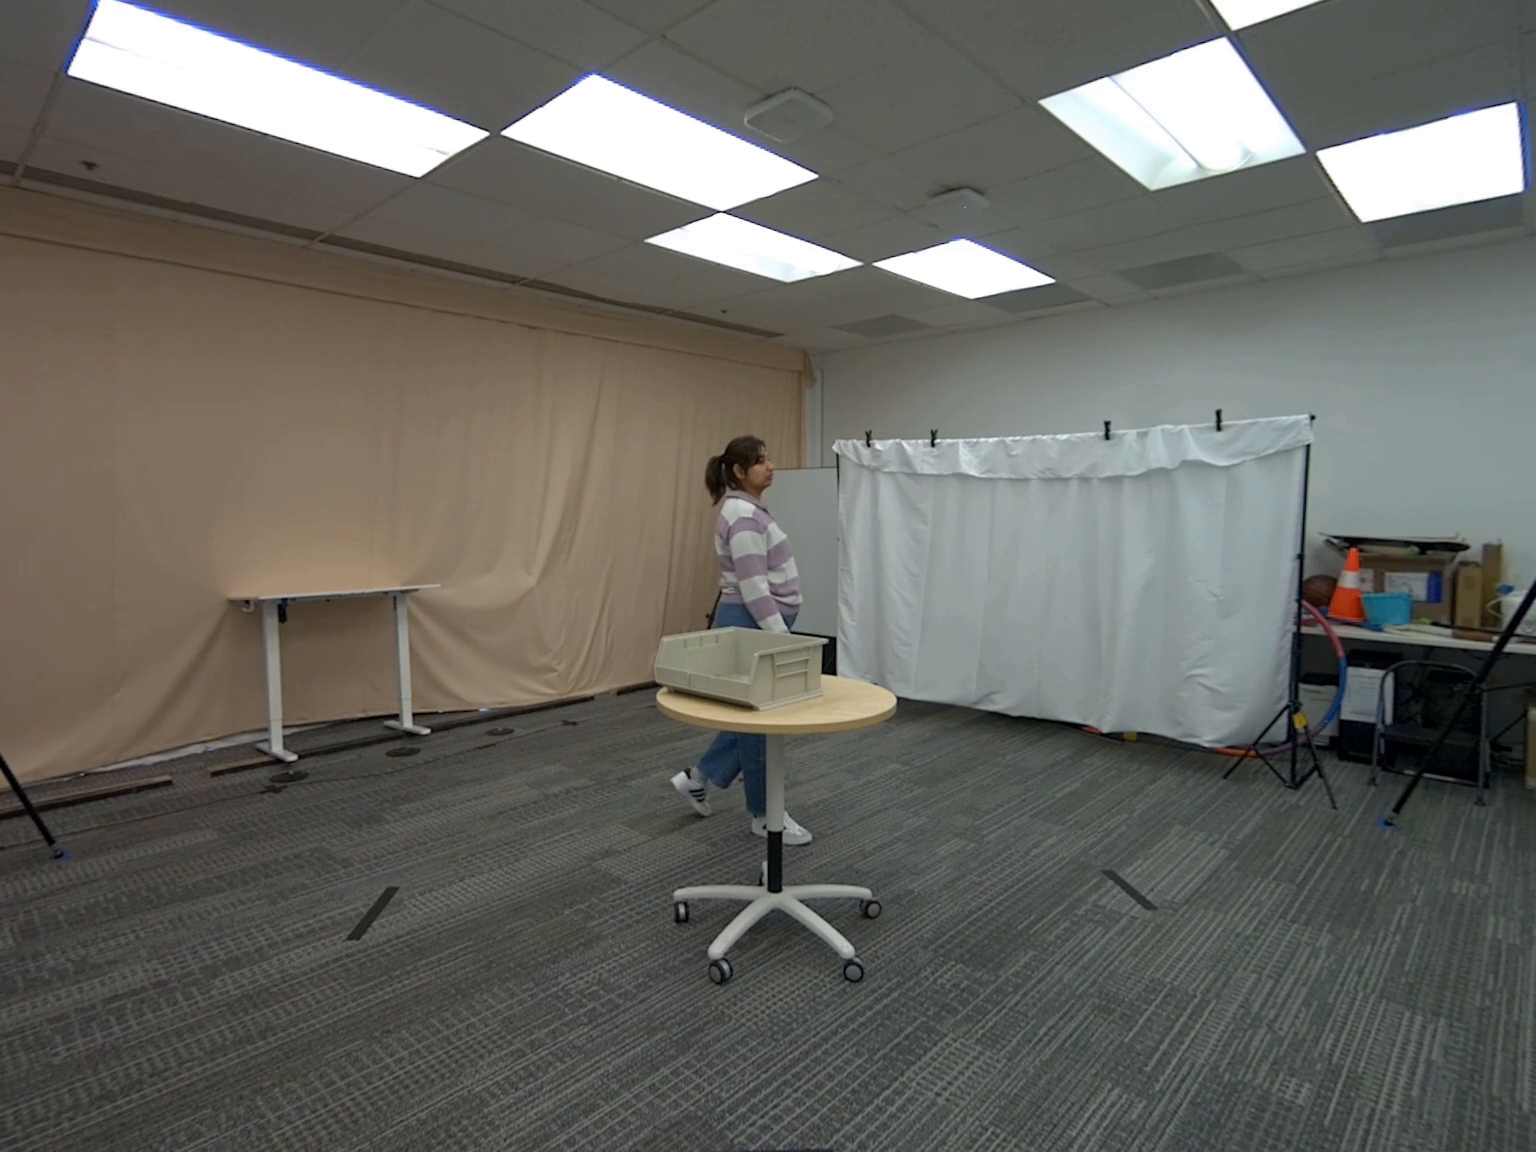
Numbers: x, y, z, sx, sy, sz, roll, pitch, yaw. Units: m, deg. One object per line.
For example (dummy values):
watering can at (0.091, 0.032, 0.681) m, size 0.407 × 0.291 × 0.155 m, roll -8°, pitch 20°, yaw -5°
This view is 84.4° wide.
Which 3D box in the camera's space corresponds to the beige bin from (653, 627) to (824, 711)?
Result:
beige bin at (-0.086, 0.292, 2.719) m, size 0.436 × 0.189 × 0.365 m, roll 4°, pitch 4°, yaw 42°
